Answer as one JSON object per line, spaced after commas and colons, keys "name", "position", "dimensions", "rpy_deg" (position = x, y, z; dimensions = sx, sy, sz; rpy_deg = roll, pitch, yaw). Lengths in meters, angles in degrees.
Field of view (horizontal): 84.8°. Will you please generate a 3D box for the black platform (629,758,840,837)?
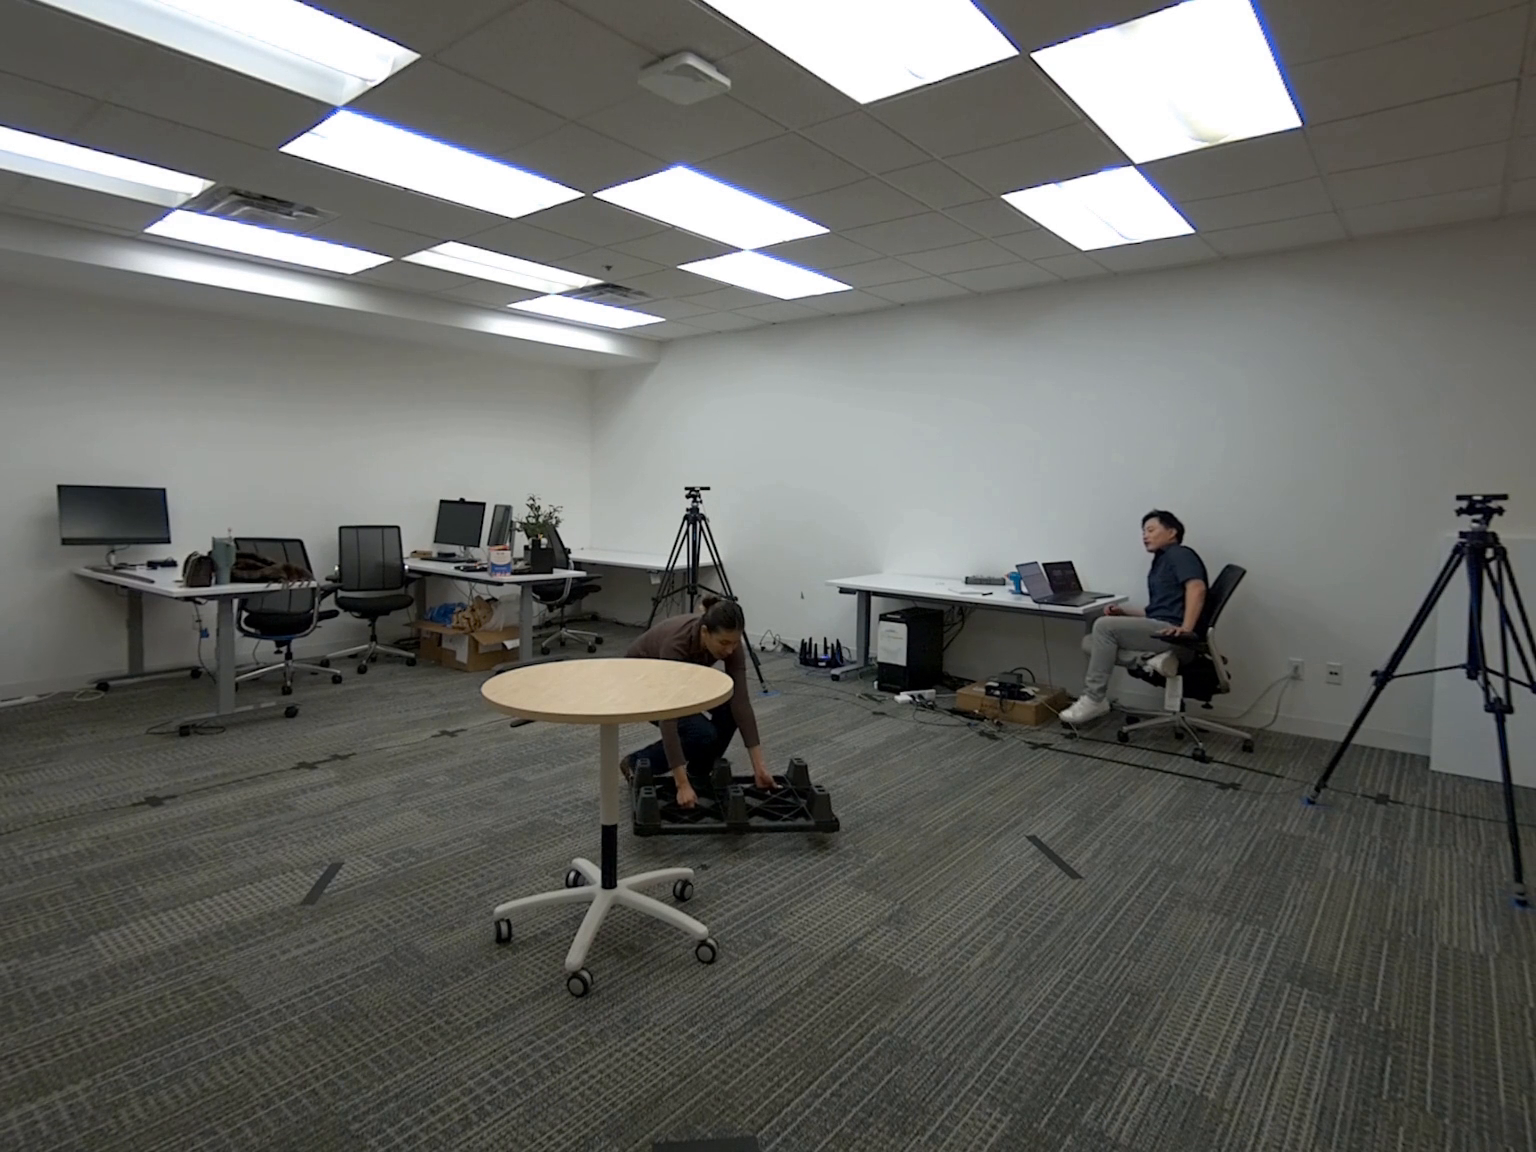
{"name": "black platform", "position": [-0.169, 0.886, 3.521], "dimensions": [0.798, 0.143, 0.613], "rpy_deg": [0, 5, -10]}
